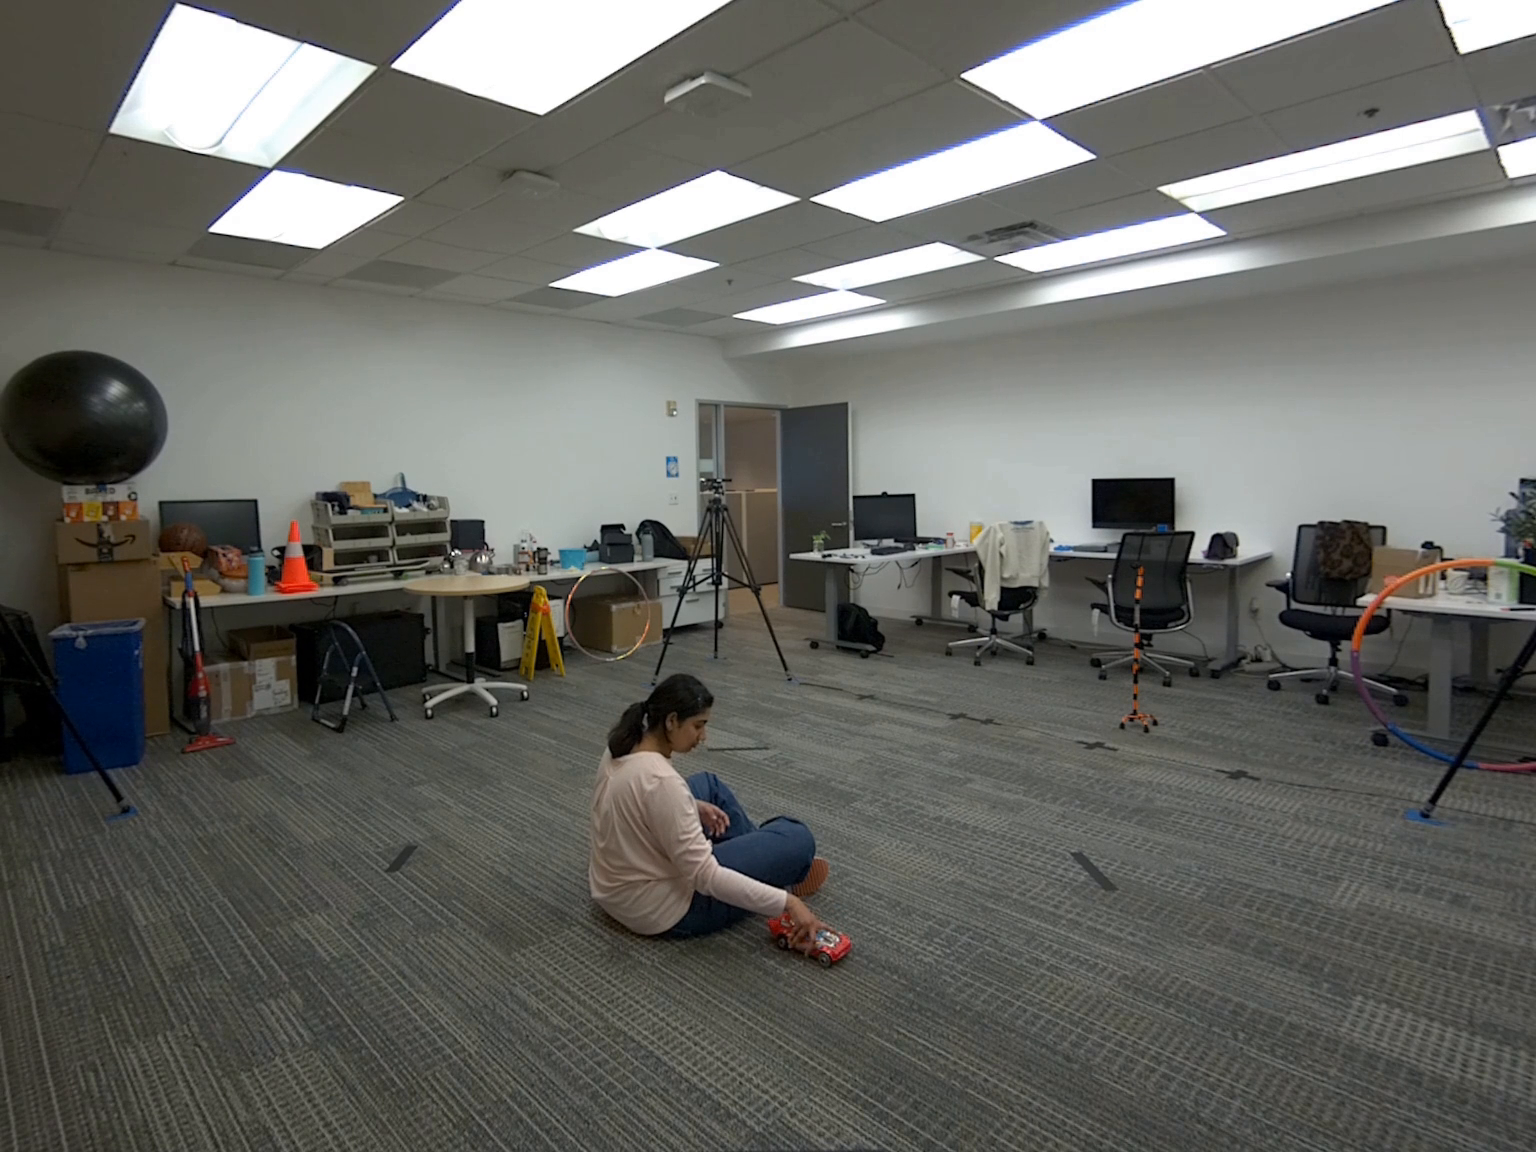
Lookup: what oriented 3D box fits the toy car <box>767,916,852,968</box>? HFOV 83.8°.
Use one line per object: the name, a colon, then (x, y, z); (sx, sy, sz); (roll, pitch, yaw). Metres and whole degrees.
toy car: (0.115, 1.069, 2.541); (0.263, 0.082, 0.127); (17, 17, 37)
